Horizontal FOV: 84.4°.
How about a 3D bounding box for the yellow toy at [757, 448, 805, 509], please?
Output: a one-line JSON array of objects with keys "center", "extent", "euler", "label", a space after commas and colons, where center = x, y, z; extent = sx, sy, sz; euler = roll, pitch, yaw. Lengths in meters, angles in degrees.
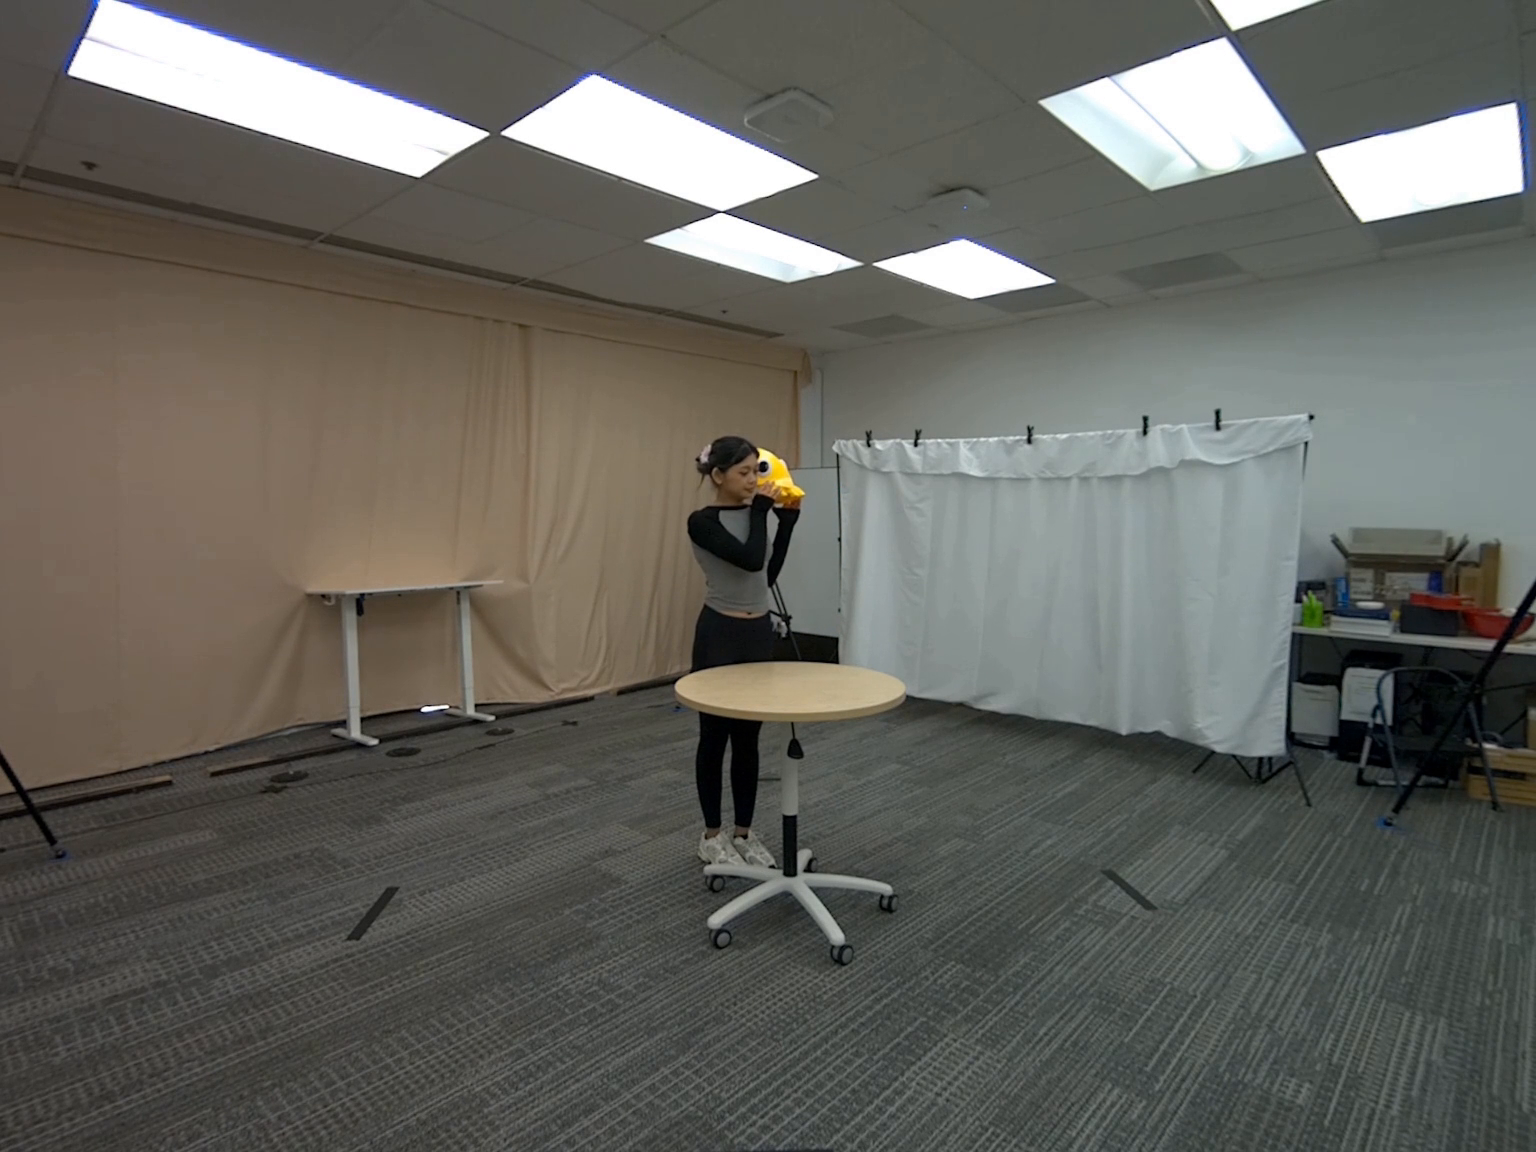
[{"center": [0.020, -0.412, 3.335], "extent": [0.198, 0.232, 0.198], "euler": [-15, -9, 43], "label": "yellow toy"}]
